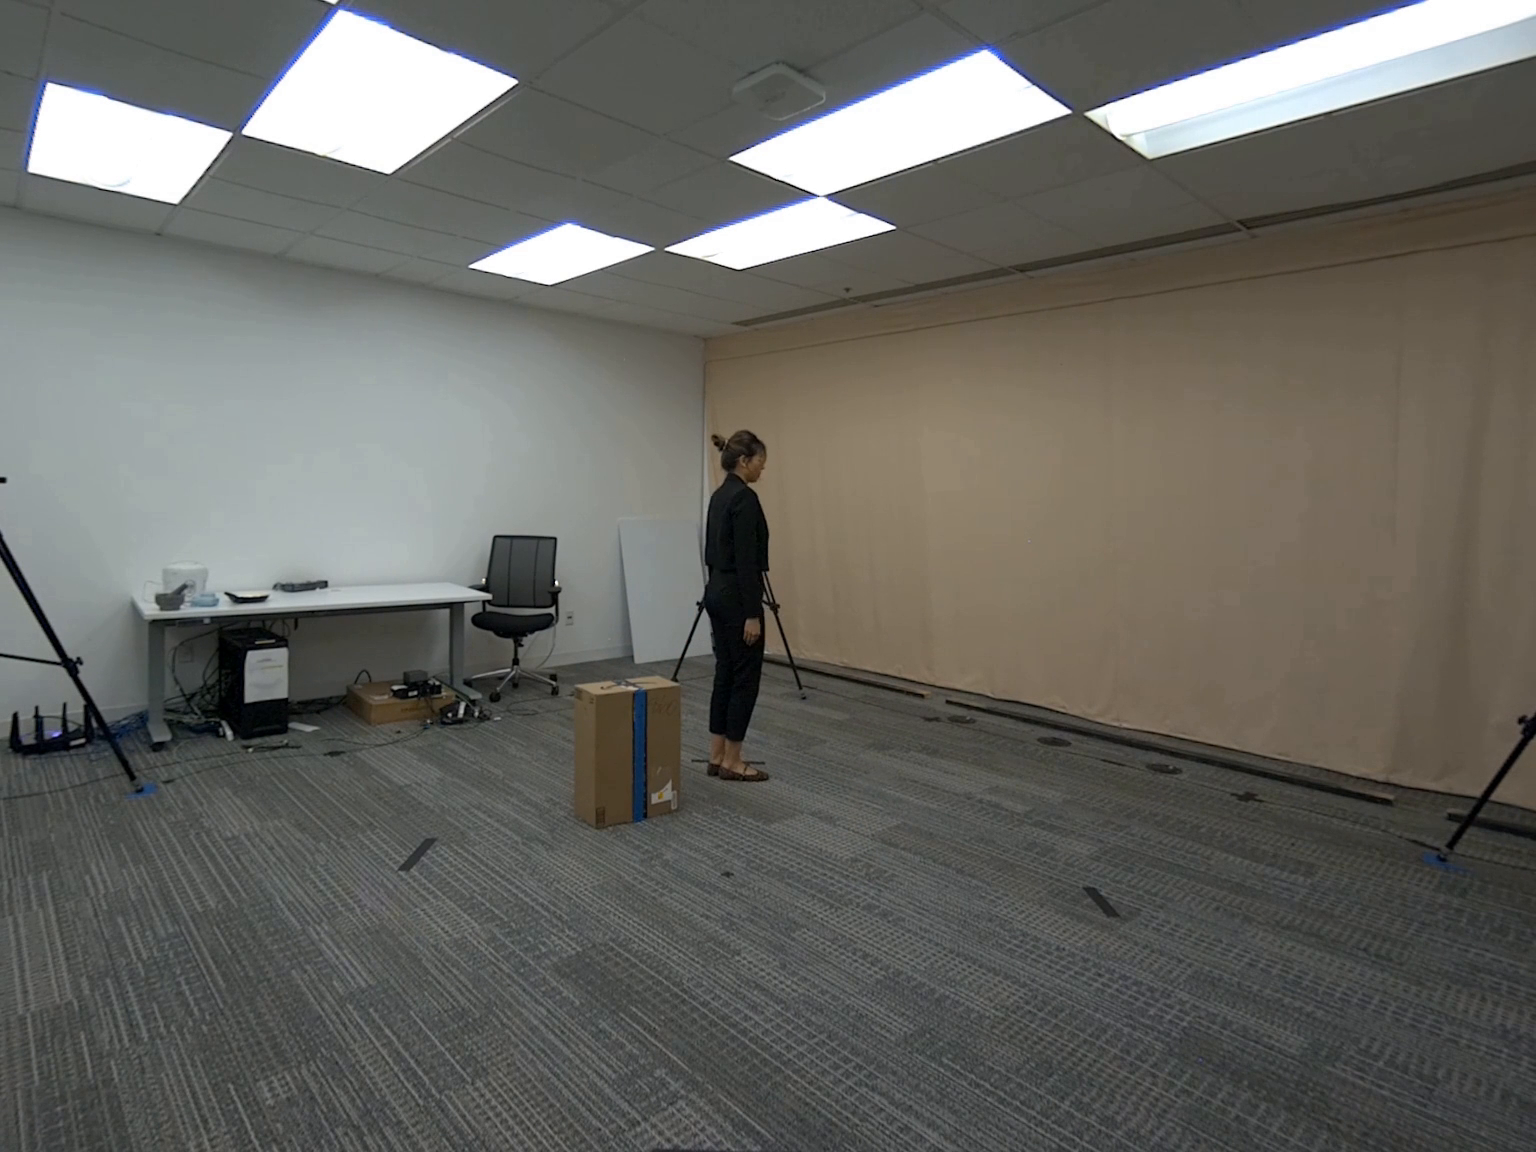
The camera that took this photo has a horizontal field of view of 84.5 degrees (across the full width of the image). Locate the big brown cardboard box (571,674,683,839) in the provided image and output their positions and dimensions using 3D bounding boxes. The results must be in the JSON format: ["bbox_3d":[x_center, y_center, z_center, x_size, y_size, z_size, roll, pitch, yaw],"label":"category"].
[{"bbox_3d":[-0.613,0.762,3.674,0.409,0.587,0.239,-2,4,-35],"label":"big brown cardboard box"}]
